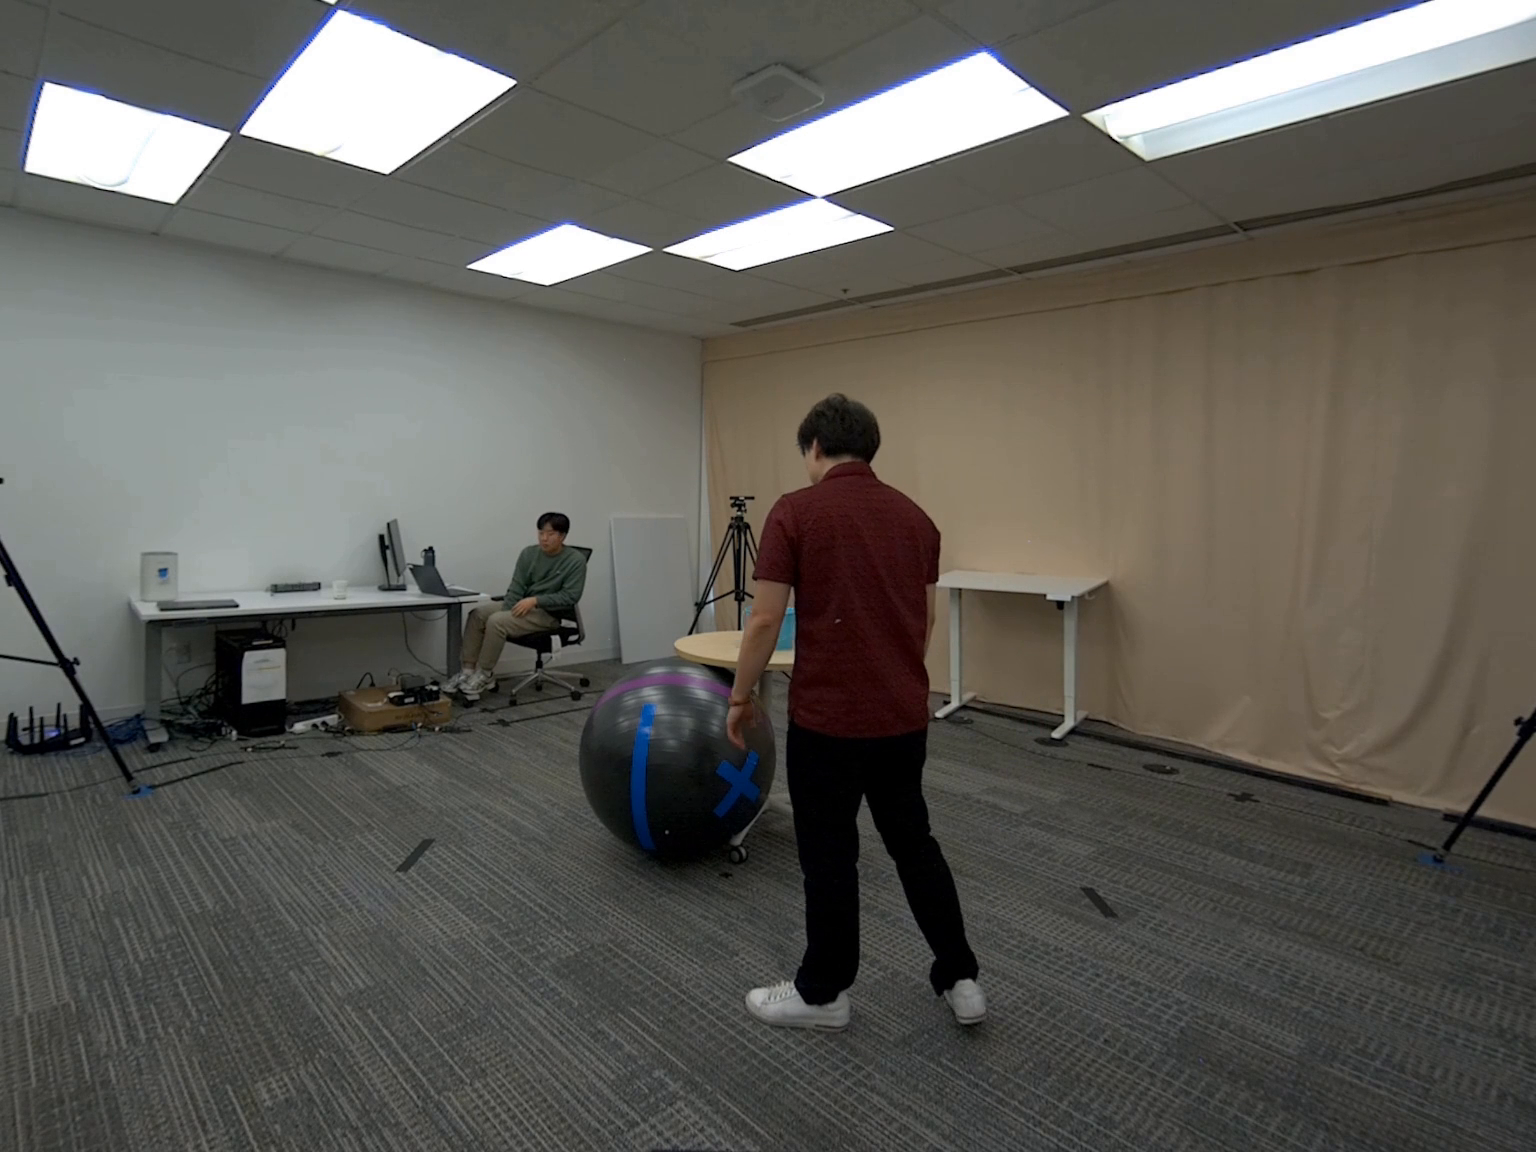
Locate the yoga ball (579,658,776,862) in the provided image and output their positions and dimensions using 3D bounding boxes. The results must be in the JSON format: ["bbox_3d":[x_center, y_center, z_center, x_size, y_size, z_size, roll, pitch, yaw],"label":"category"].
[{"bbox_3d":[-0.358,0.702,3.274,0.757,0.756,0.761,1,4,-1],"label":"yoga ball"}]
